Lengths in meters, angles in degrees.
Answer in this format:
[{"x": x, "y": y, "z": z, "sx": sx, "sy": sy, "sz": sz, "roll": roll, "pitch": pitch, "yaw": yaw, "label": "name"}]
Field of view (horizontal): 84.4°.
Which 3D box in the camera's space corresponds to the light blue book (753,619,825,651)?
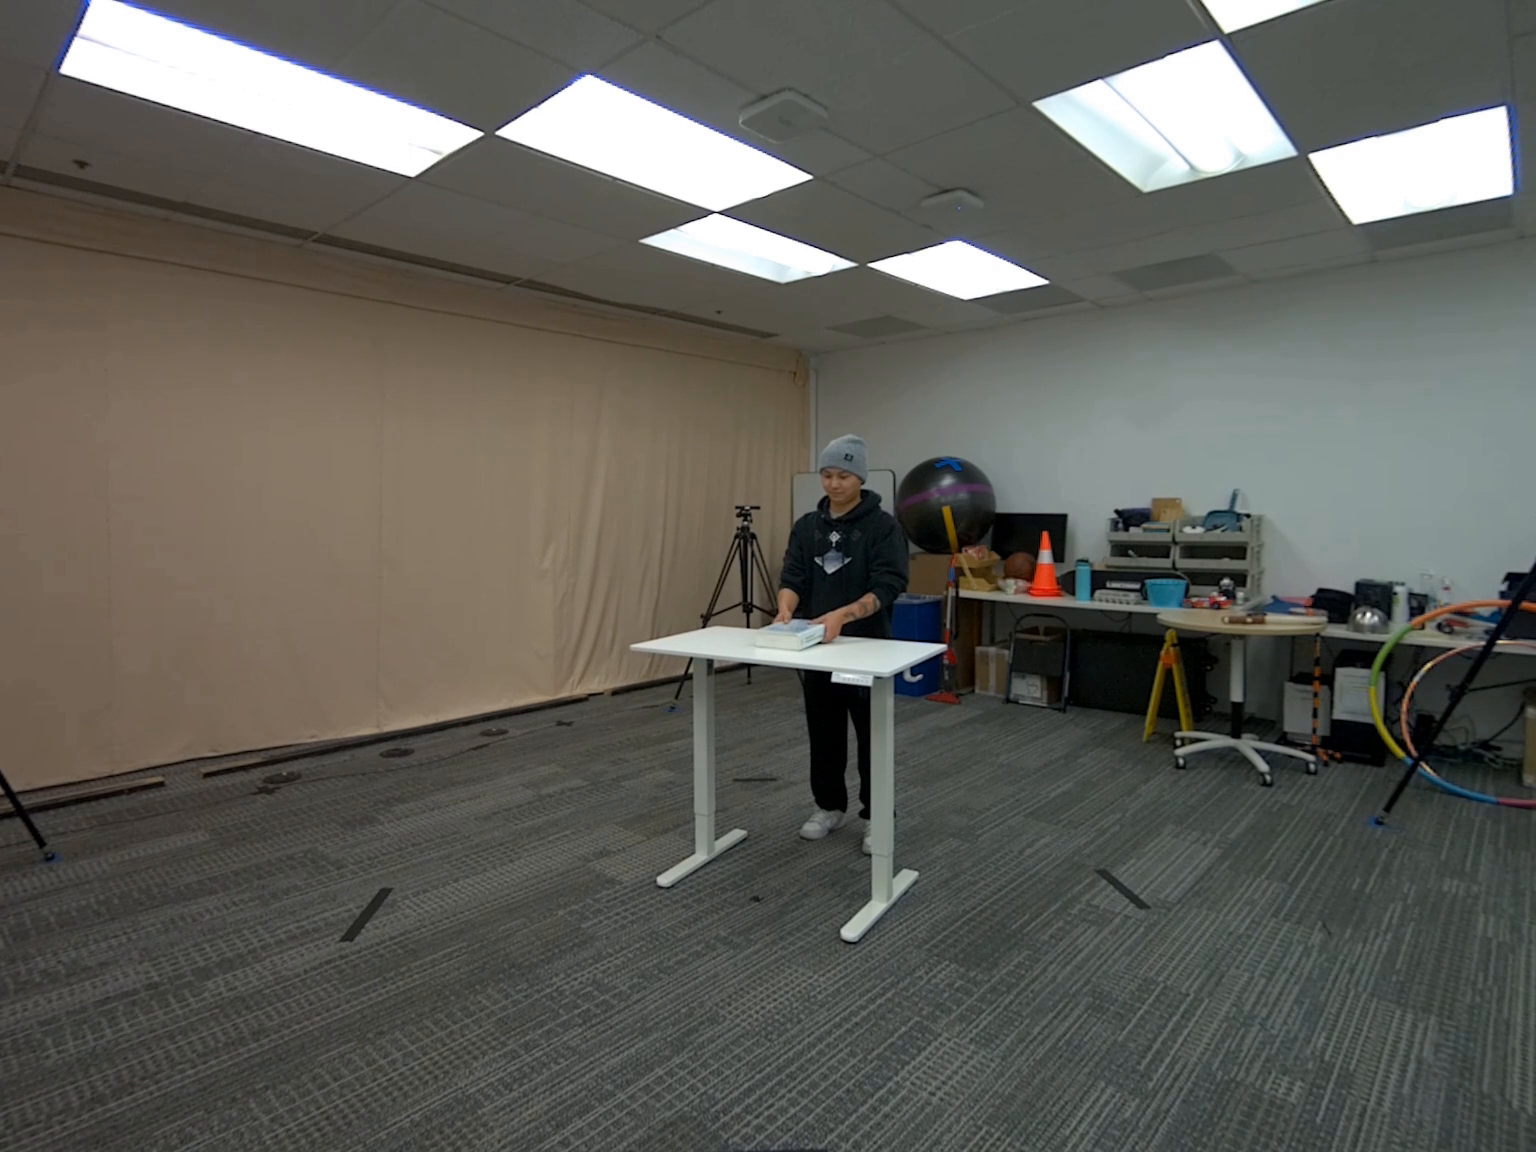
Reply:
[{"x": 0.079, "y": 0.219, "z": 3.100, "sx": 0.197, "sy": 0.059, "sz": 0.254, "roll": 3, "pitch": 8, "yaw": 32, "label": "light blue book"}]
